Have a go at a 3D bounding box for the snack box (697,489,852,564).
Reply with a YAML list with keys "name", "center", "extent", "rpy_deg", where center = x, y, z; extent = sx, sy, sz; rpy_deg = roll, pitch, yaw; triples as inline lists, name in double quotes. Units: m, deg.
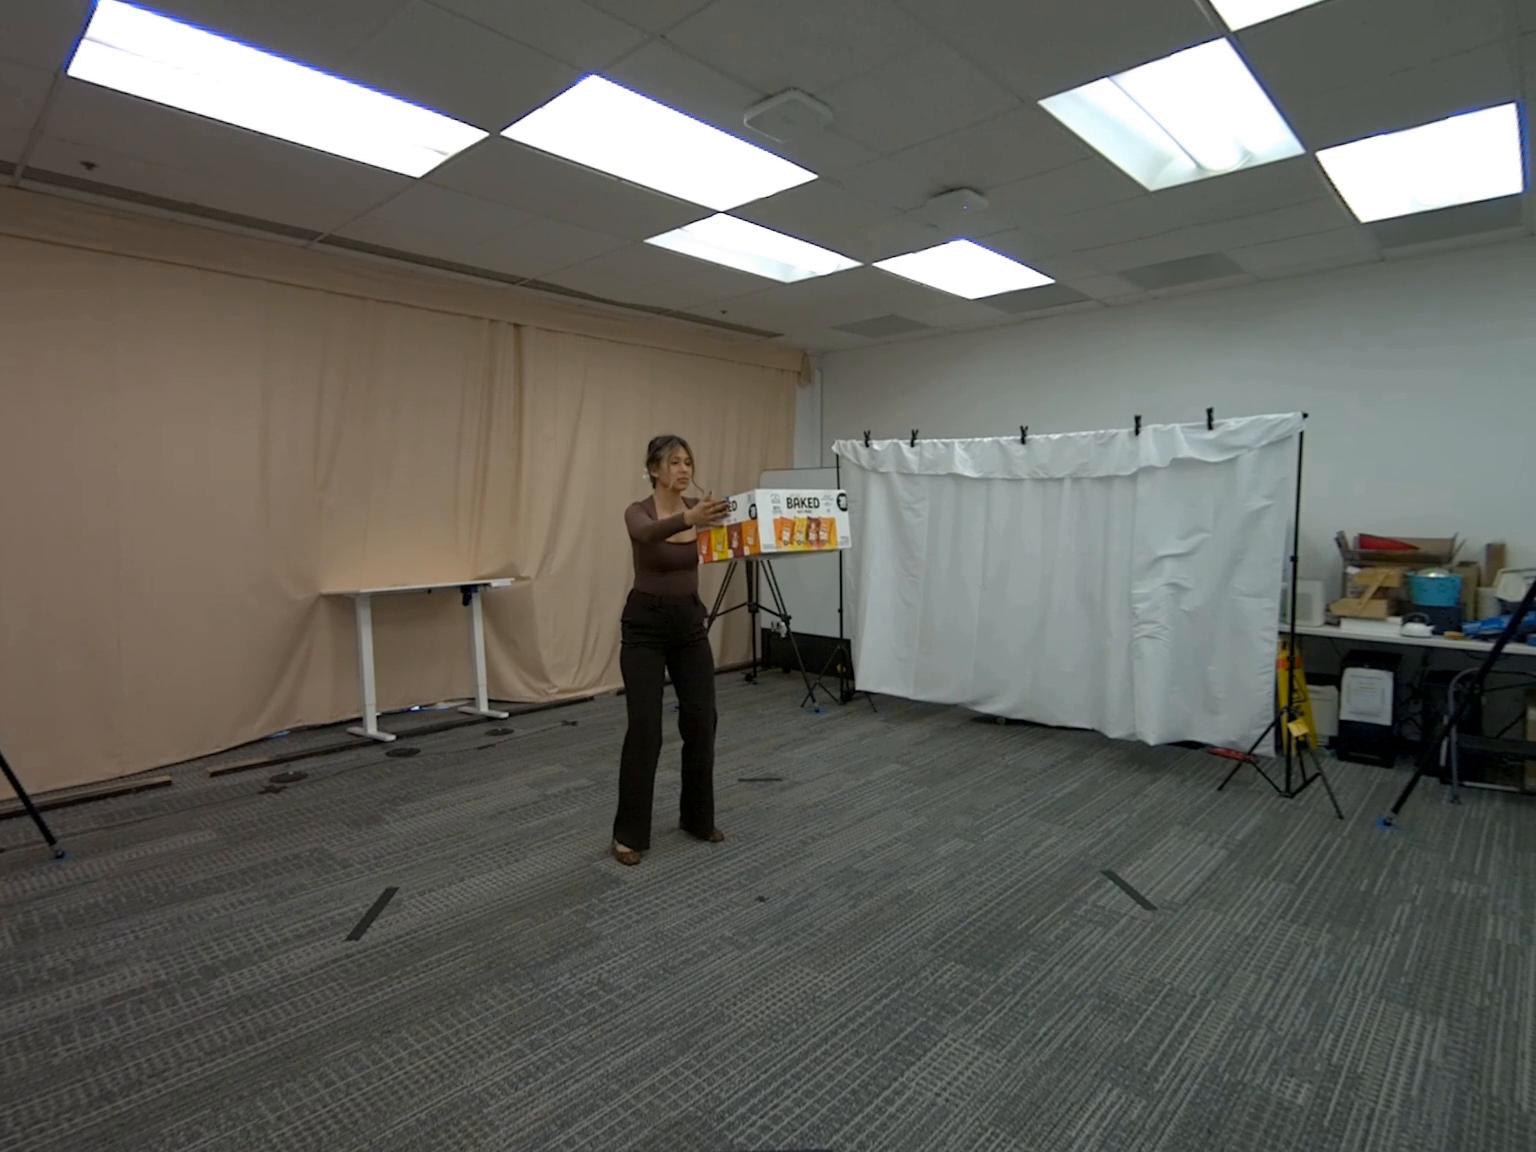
- name: "snack box"
  center: [0.019, -0.159, 2.885]
  extent: [0.393, 0.206, 0.350]
  rpy_deg: [-3, -3, -39]
